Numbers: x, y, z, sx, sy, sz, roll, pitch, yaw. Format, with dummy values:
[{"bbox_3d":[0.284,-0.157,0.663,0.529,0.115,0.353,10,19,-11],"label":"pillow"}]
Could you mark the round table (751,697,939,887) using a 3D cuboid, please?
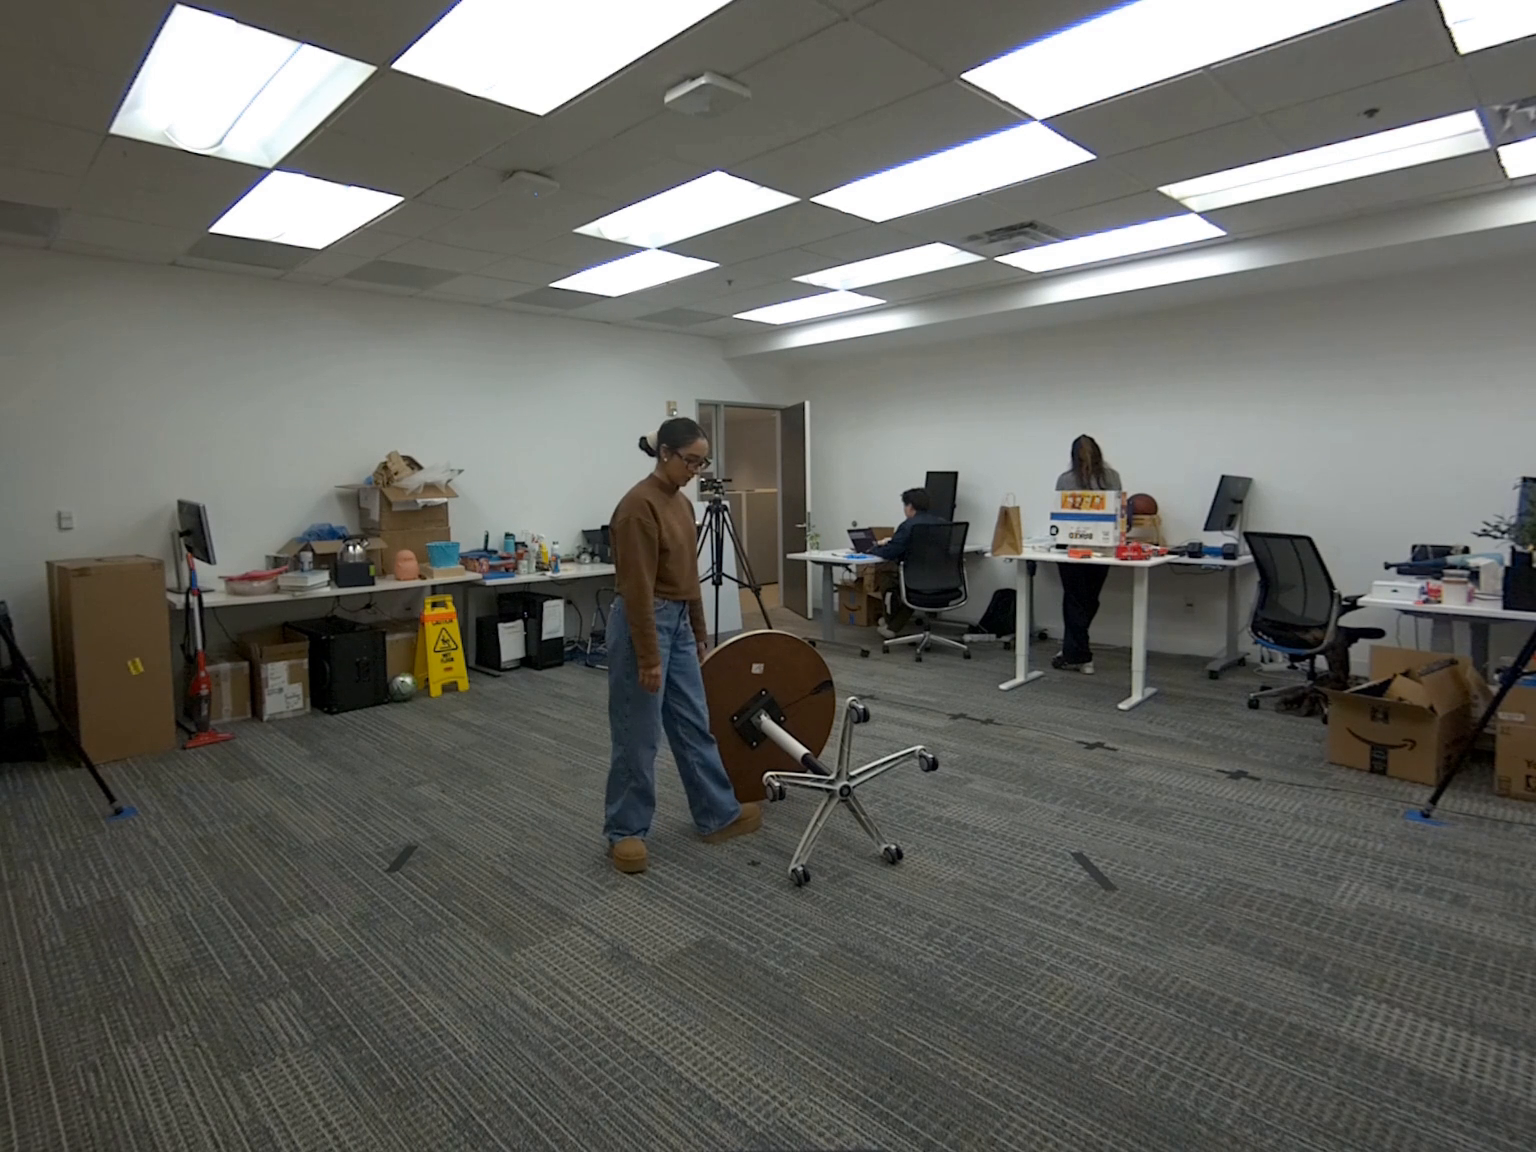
[{"bbox_3d":[0.132,0.684,3.299,0.748,0.756,0.819,-3,13,-26],"label":"round table"}]
